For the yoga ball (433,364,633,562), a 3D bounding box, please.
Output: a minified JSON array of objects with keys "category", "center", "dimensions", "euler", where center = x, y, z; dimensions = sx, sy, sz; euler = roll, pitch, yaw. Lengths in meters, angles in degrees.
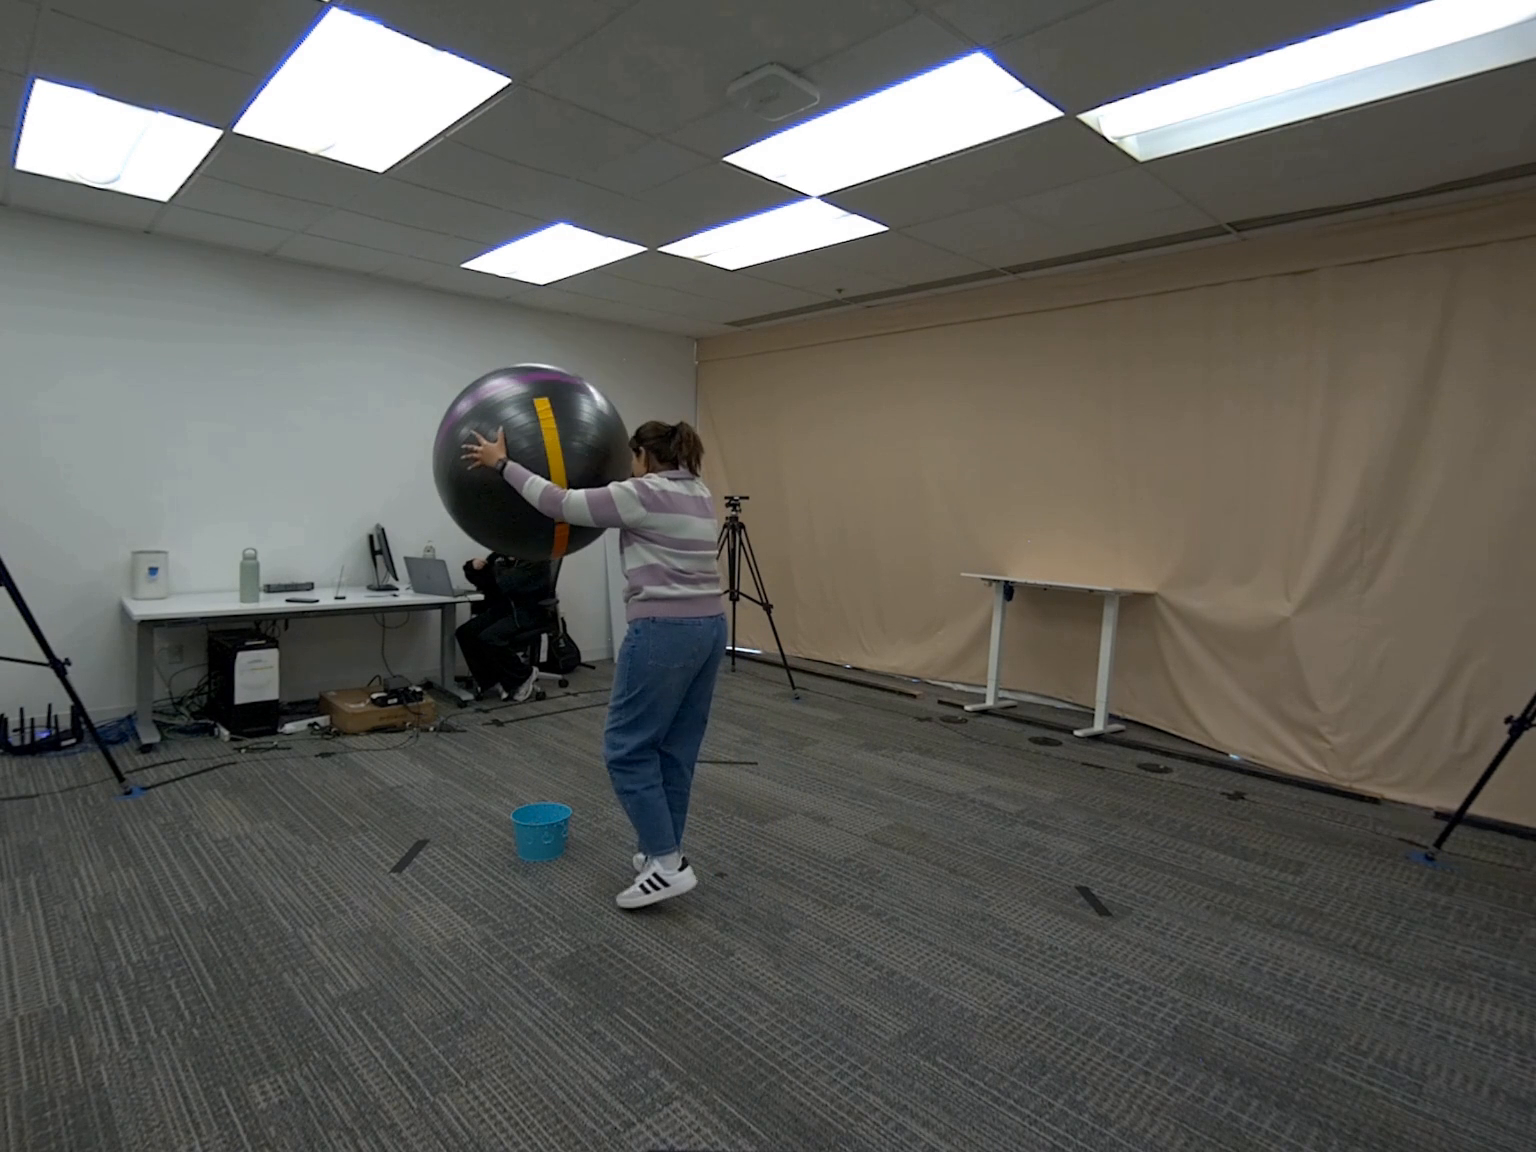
[{"category":"yoga ball","center":[-0.921,-0.435,3.285],"dimensions":[0.757,0.756,0.761],"euler":[1,4,-1]}]
